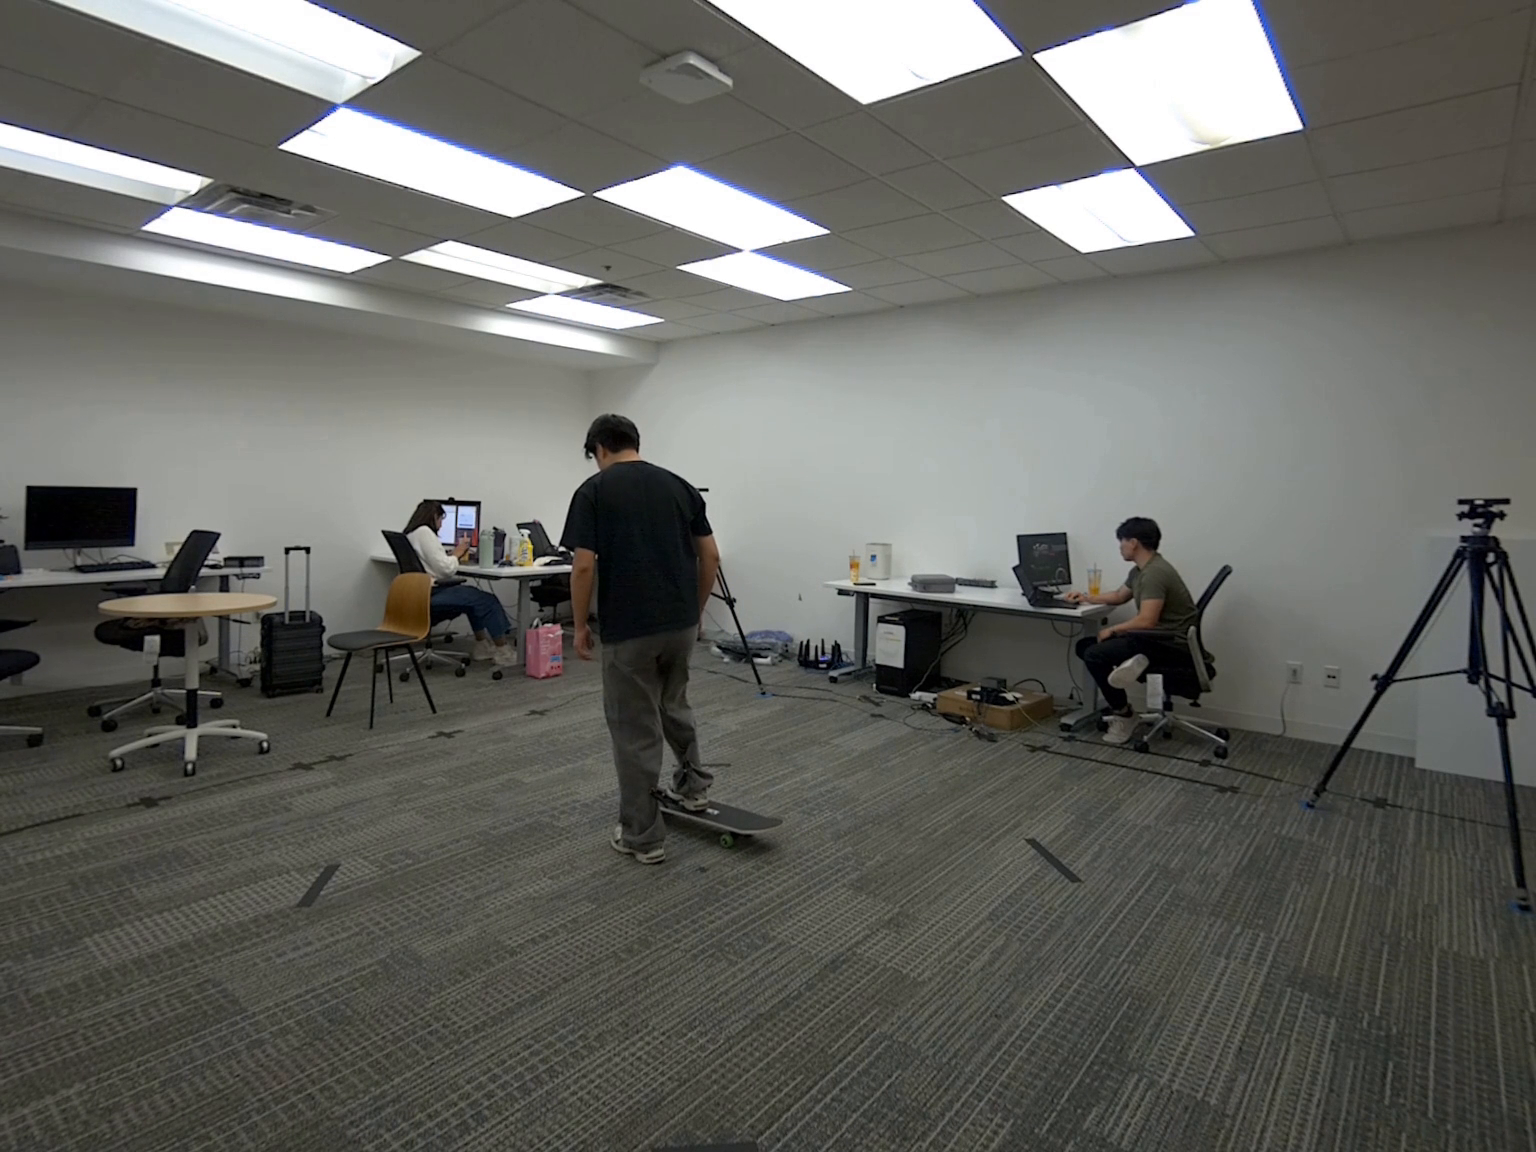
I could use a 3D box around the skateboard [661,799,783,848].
[{"bbox_3d":[-0.303,0.976,3.481,0.810,0.110,0.188,5,4,34],"label":"skateboard"}]
